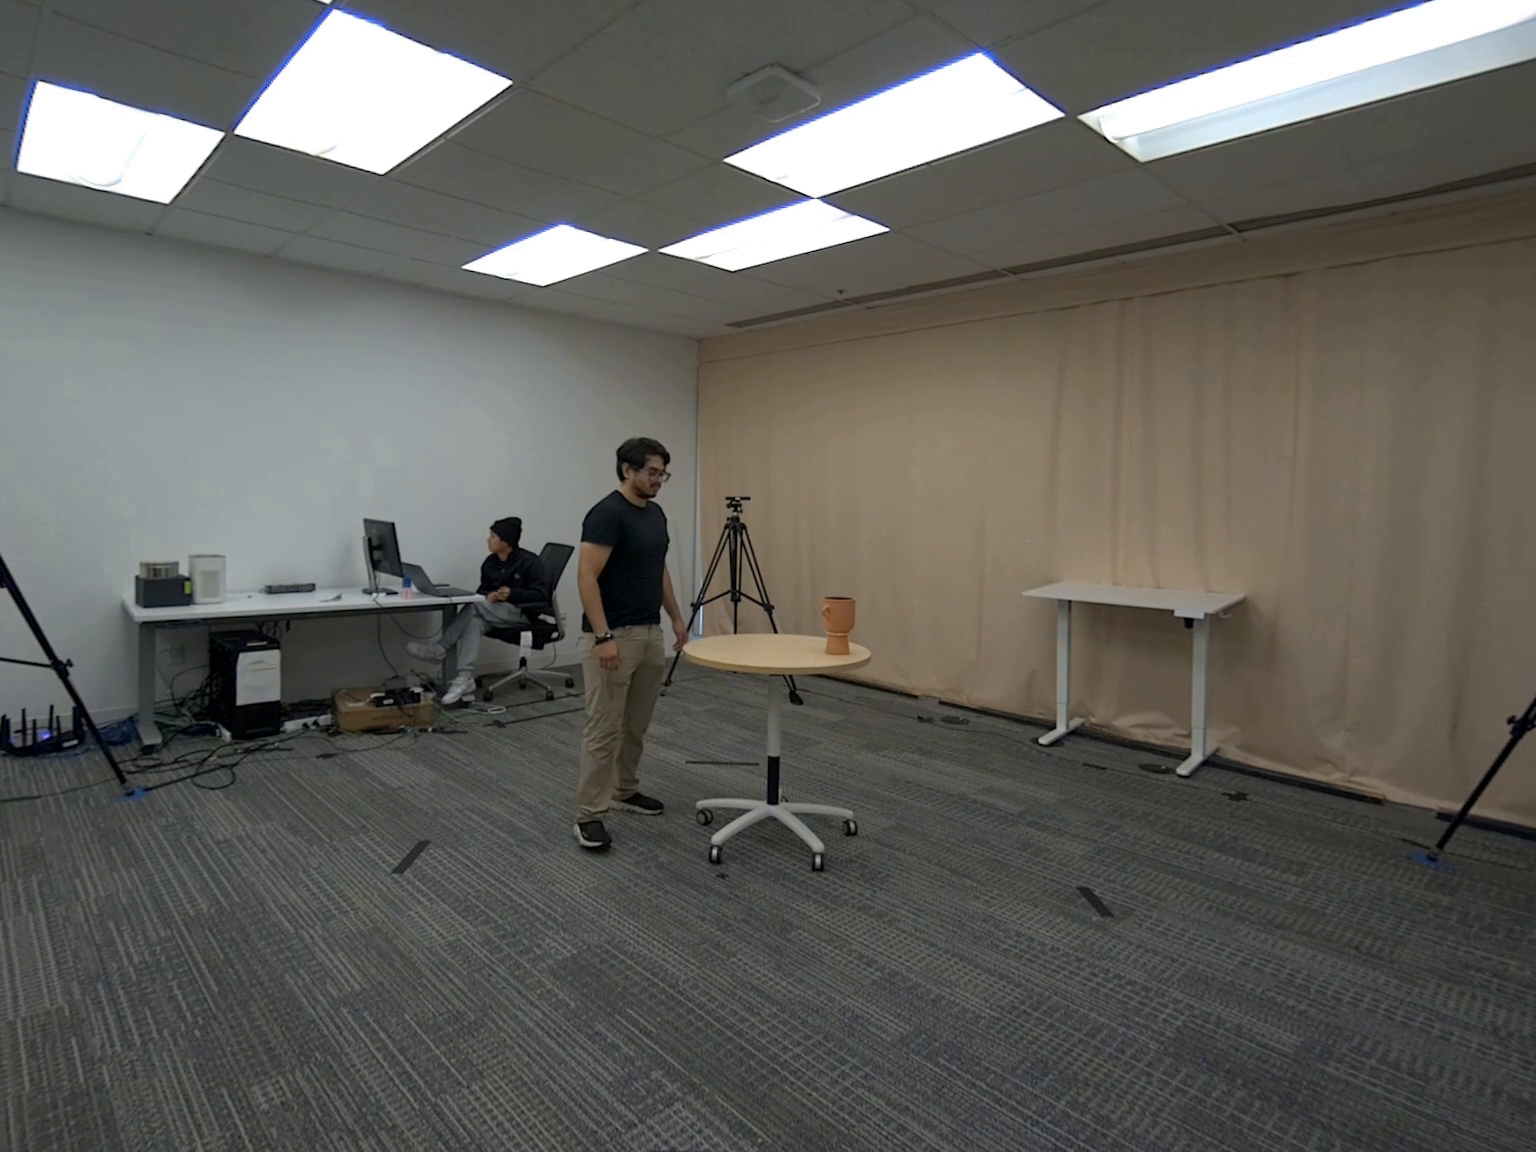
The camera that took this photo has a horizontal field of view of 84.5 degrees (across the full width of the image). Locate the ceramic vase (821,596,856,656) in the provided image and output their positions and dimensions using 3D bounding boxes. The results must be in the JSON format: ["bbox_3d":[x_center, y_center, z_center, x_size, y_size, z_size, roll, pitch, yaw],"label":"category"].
[{"bbox_3d":[0.276,0.201,3.376,0.158,0.219,0.135,1,3,-7],"label":"ceramic vase"}]
